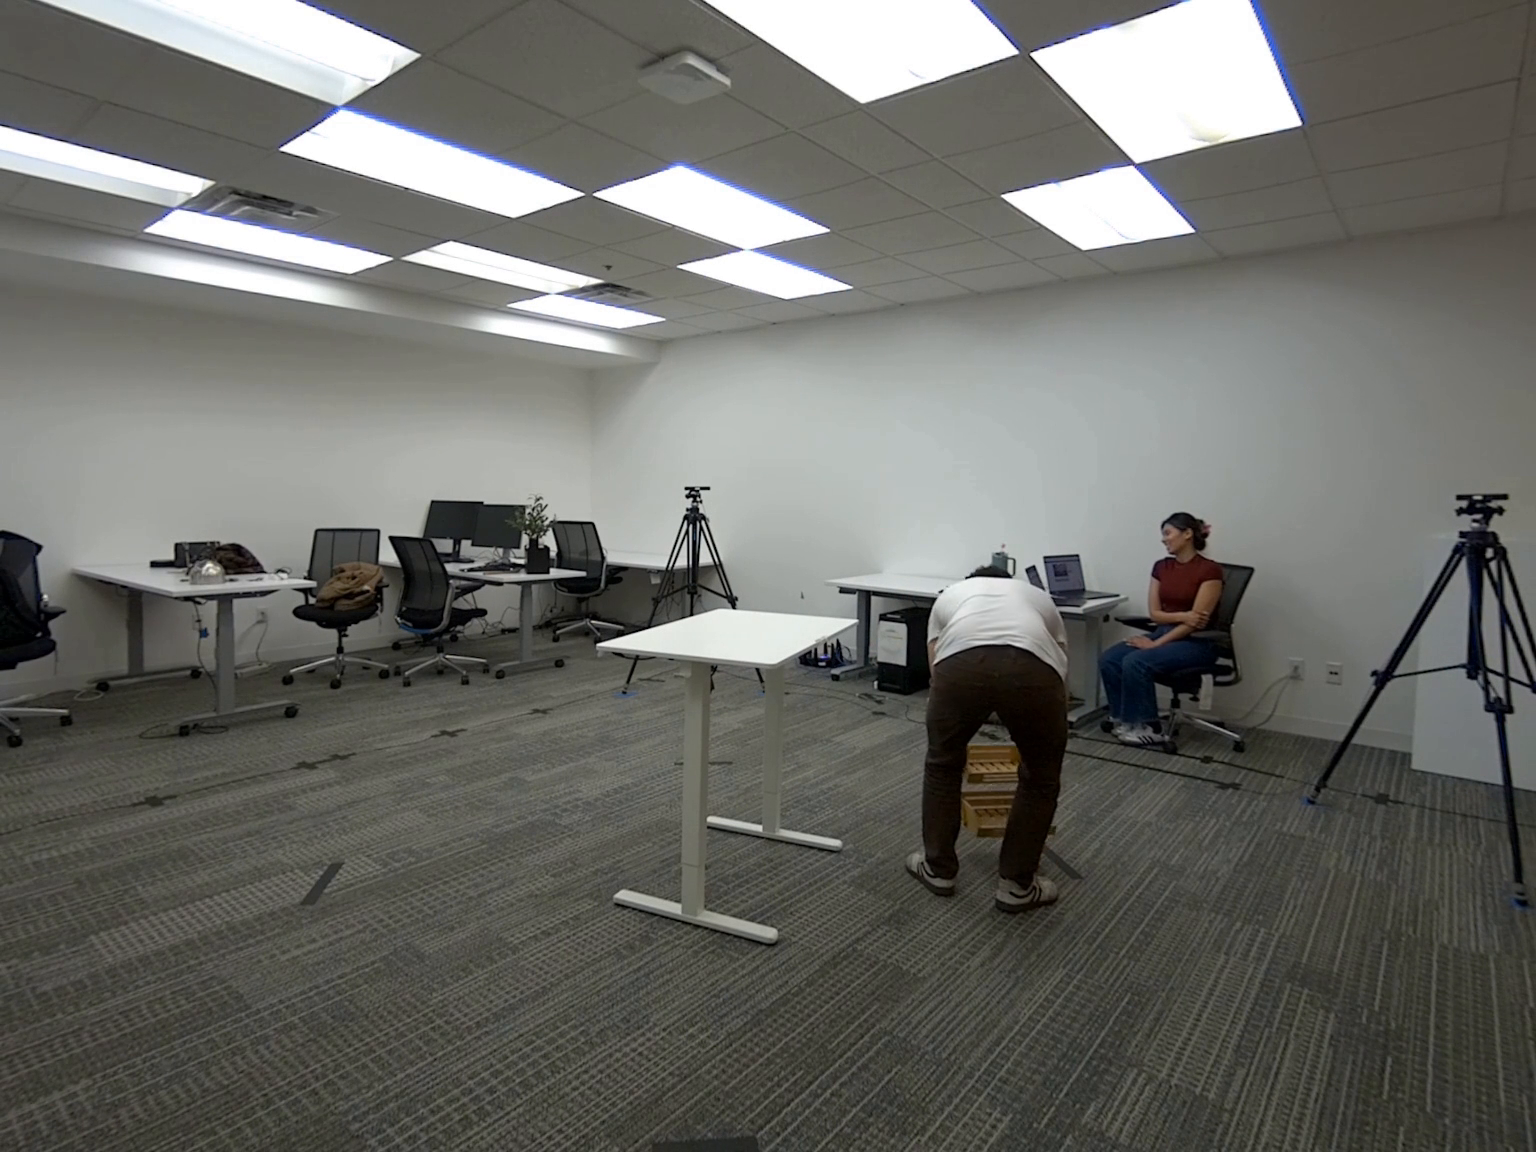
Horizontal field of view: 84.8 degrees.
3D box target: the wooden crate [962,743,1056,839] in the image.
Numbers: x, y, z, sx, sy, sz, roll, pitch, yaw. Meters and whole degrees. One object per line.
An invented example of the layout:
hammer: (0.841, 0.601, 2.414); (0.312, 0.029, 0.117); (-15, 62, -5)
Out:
wooden crate: (0.888, 0.802, 3.242); (0.322, 0.272, 0.305); (-1, 4, -8)
